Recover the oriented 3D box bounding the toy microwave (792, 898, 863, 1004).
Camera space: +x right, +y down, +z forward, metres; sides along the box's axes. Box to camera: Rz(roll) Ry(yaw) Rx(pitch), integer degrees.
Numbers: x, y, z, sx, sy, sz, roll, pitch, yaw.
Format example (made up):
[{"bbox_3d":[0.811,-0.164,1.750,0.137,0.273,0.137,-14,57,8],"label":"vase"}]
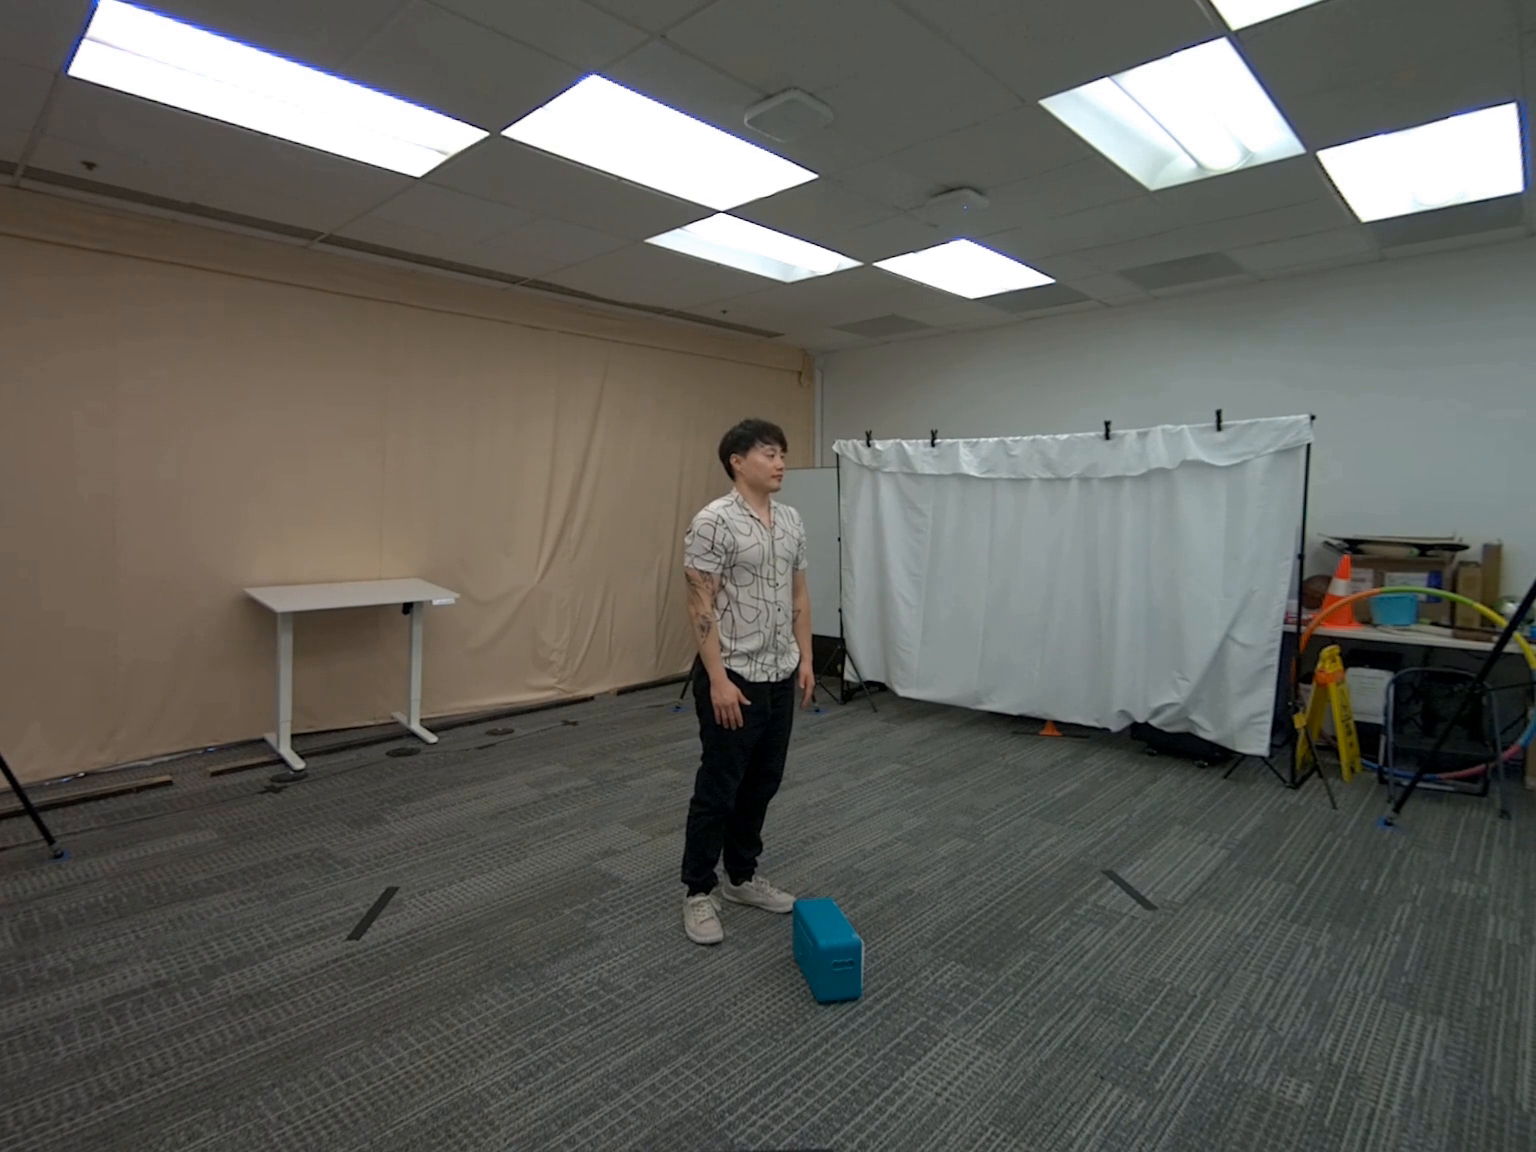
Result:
[{"bbox_3d":[0.182,1.094,2.474,0.150,0.184,0.290,-1,4,-14],"label":"toy microwave"}]
